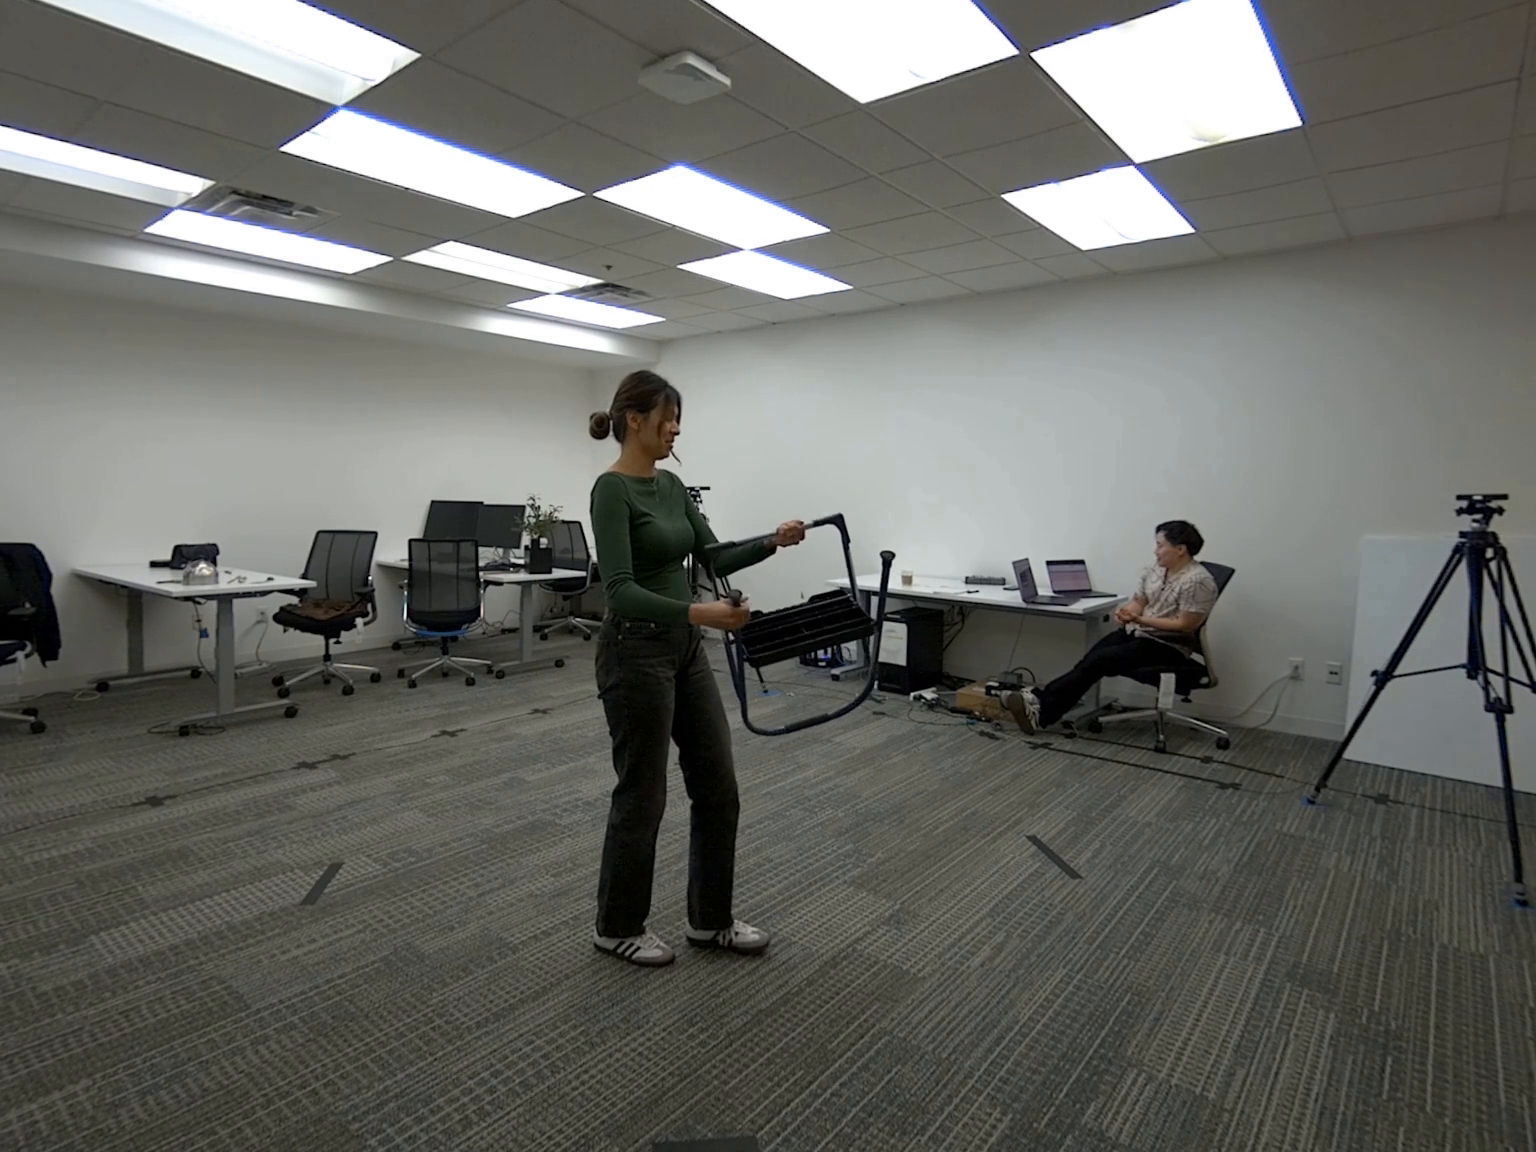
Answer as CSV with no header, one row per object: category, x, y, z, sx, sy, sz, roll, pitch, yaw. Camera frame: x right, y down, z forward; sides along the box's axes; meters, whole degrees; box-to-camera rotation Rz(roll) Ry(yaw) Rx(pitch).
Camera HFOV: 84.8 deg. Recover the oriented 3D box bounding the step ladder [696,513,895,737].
step ladder,0.092,0.200,2.311,0.427,0.592,0.360,-13,22,-10
